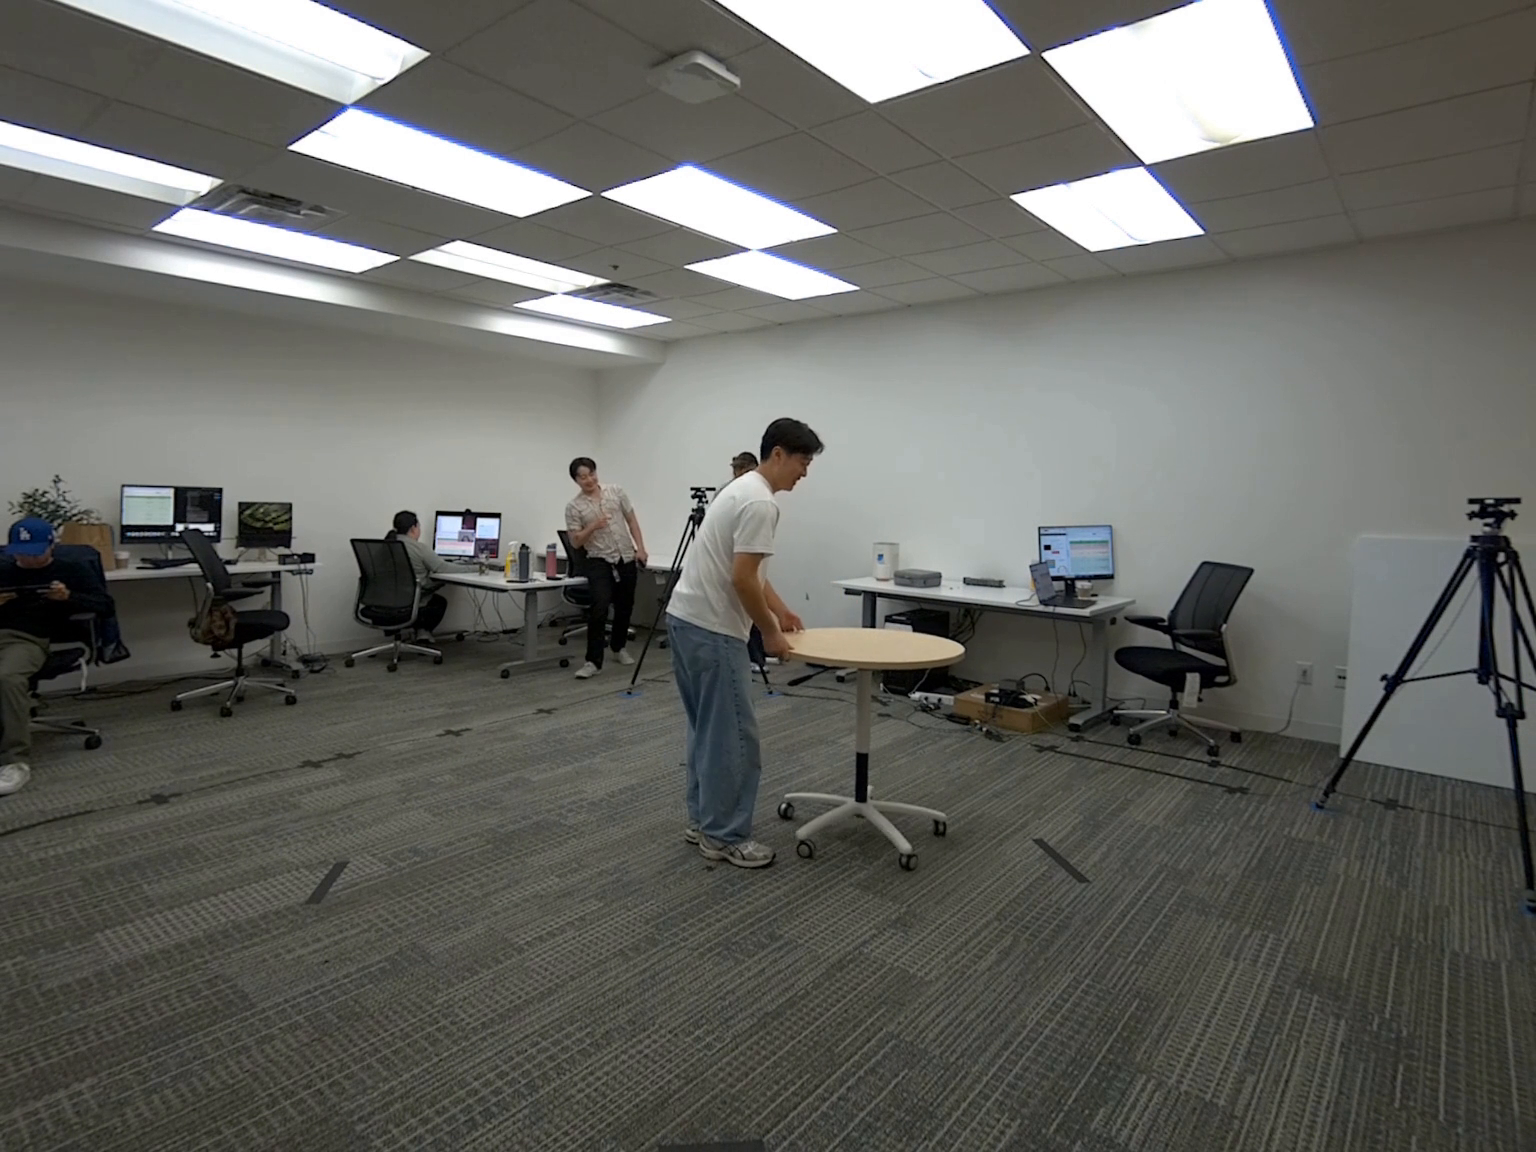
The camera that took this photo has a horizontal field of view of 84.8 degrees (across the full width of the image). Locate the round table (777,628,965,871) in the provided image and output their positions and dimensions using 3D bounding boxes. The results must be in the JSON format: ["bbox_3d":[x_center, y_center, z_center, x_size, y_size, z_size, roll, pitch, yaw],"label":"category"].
[{"bbox_3d":[0.365,0.658,3.439,0.784,0.784,0.789,1,5,-2],"label":"round table"}]
